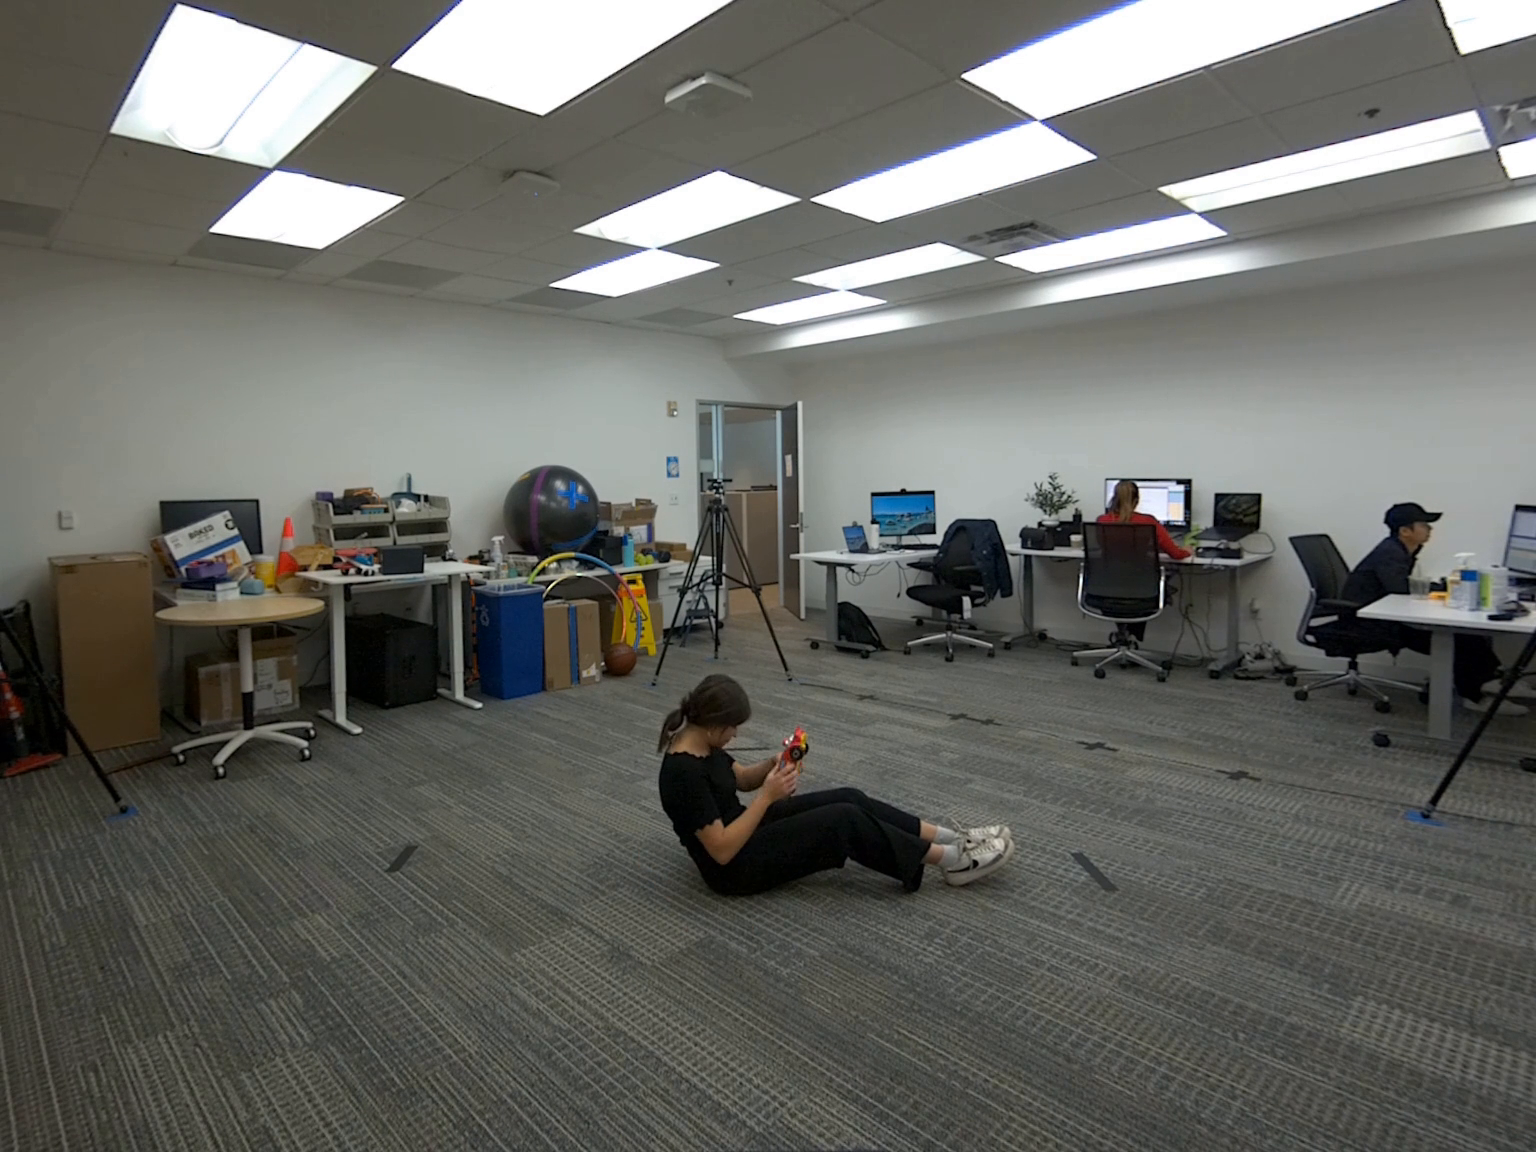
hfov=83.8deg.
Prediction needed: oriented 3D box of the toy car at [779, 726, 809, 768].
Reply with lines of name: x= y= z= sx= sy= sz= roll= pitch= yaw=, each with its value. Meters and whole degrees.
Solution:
toy car: x=0.072 y=0.656 z=2.924 sx=0.084 sy=0.255 sz=0.128 roll=5 pitch=-1 yaw=14
